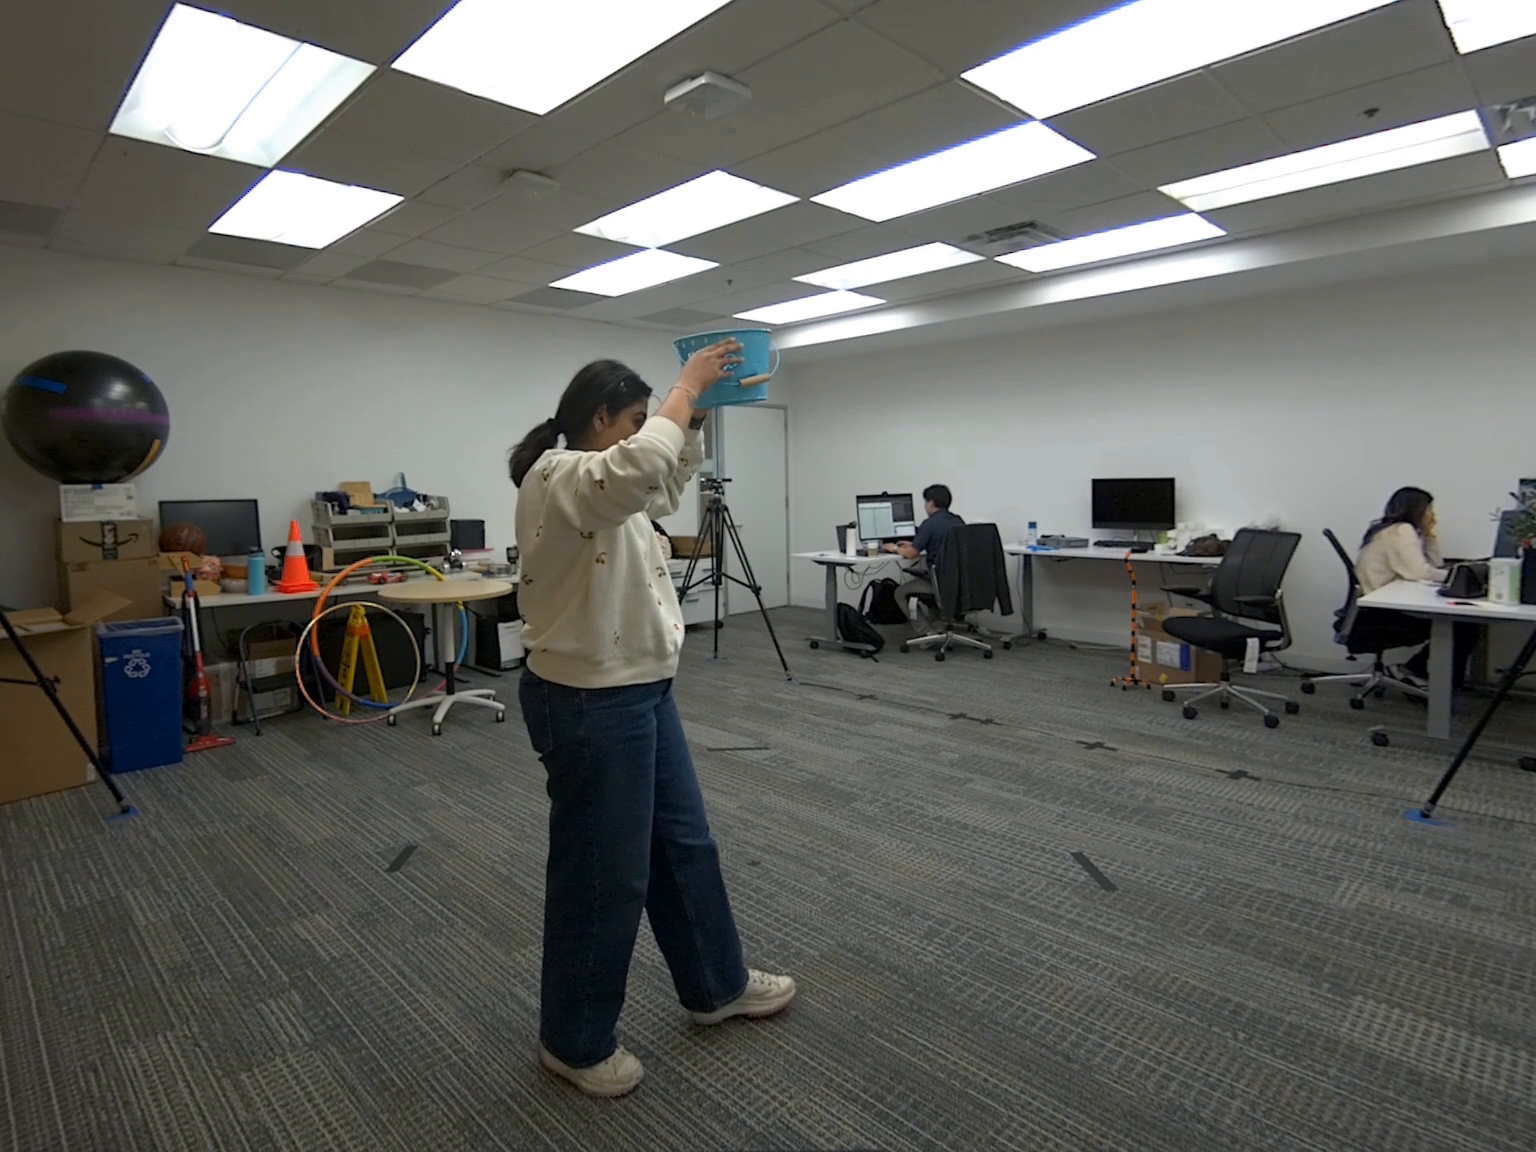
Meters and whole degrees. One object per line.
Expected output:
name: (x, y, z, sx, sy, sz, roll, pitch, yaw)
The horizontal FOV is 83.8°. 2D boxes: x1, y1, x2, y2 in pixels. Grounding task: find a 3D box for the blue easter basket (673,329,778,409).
blue easter basket: (-0.094, -0.477, 1.961, 0.243, 0.155, 0.245, -7, 7, -1)
